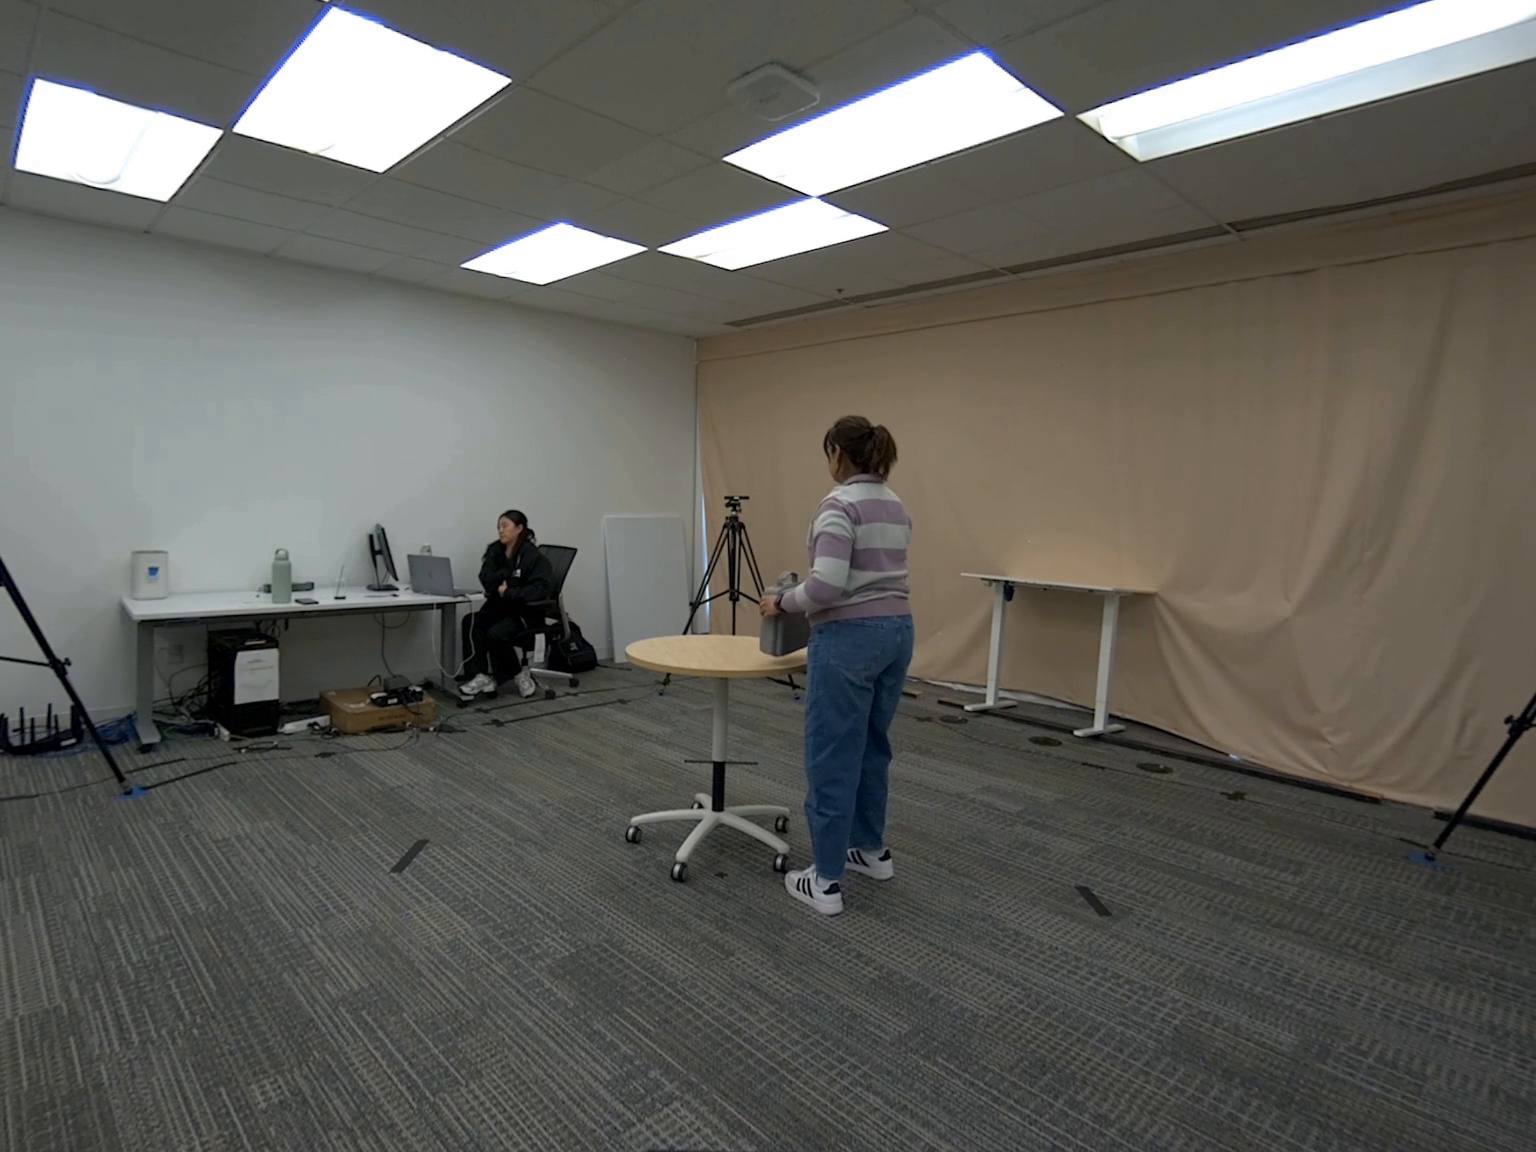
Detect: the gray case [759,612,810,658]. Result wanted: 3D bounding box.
[{"bbox_3d":[0.077,0.157,3.139,0.107,0.259,0.252,8,10,35],"label":"gray case"}]
